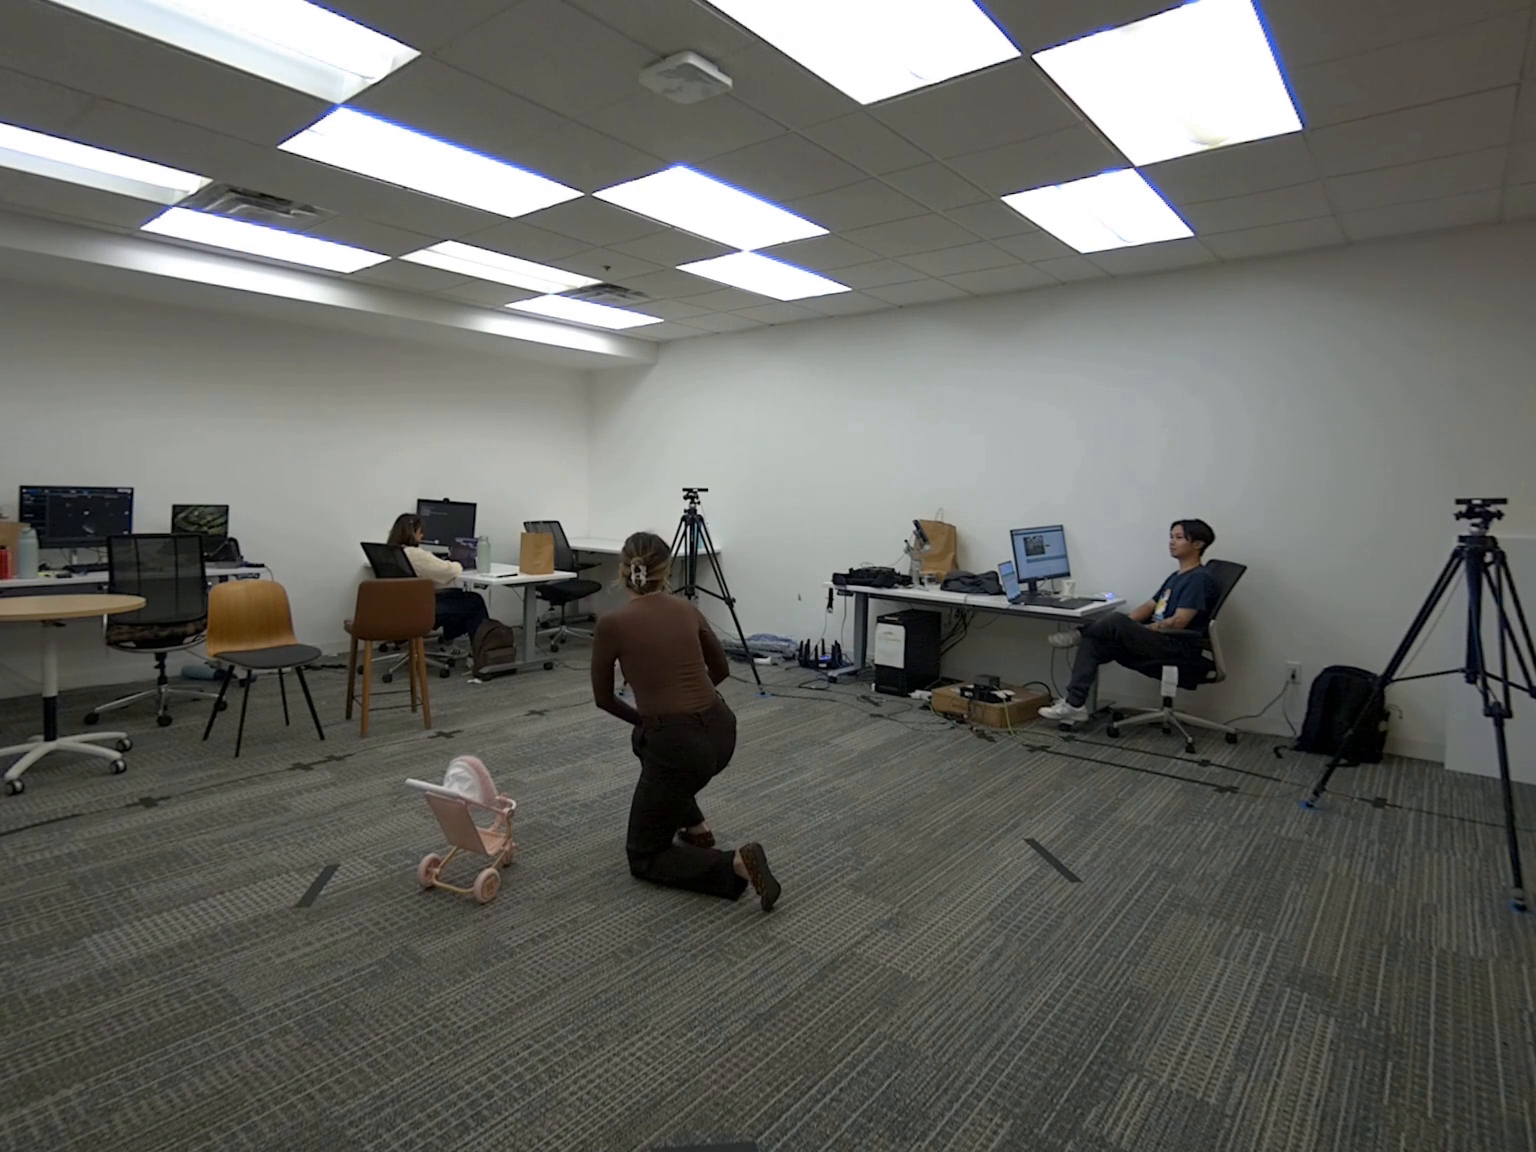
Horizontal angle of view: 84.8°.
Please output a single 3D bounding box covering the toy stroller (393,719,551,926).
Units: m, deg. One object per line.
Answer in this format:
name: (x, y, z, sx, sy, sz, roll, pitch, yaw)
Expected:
toy stroller: (-1.023, 0.843, 2.938, 0.289, 0.525, 0.338, 5, 21, 27)
